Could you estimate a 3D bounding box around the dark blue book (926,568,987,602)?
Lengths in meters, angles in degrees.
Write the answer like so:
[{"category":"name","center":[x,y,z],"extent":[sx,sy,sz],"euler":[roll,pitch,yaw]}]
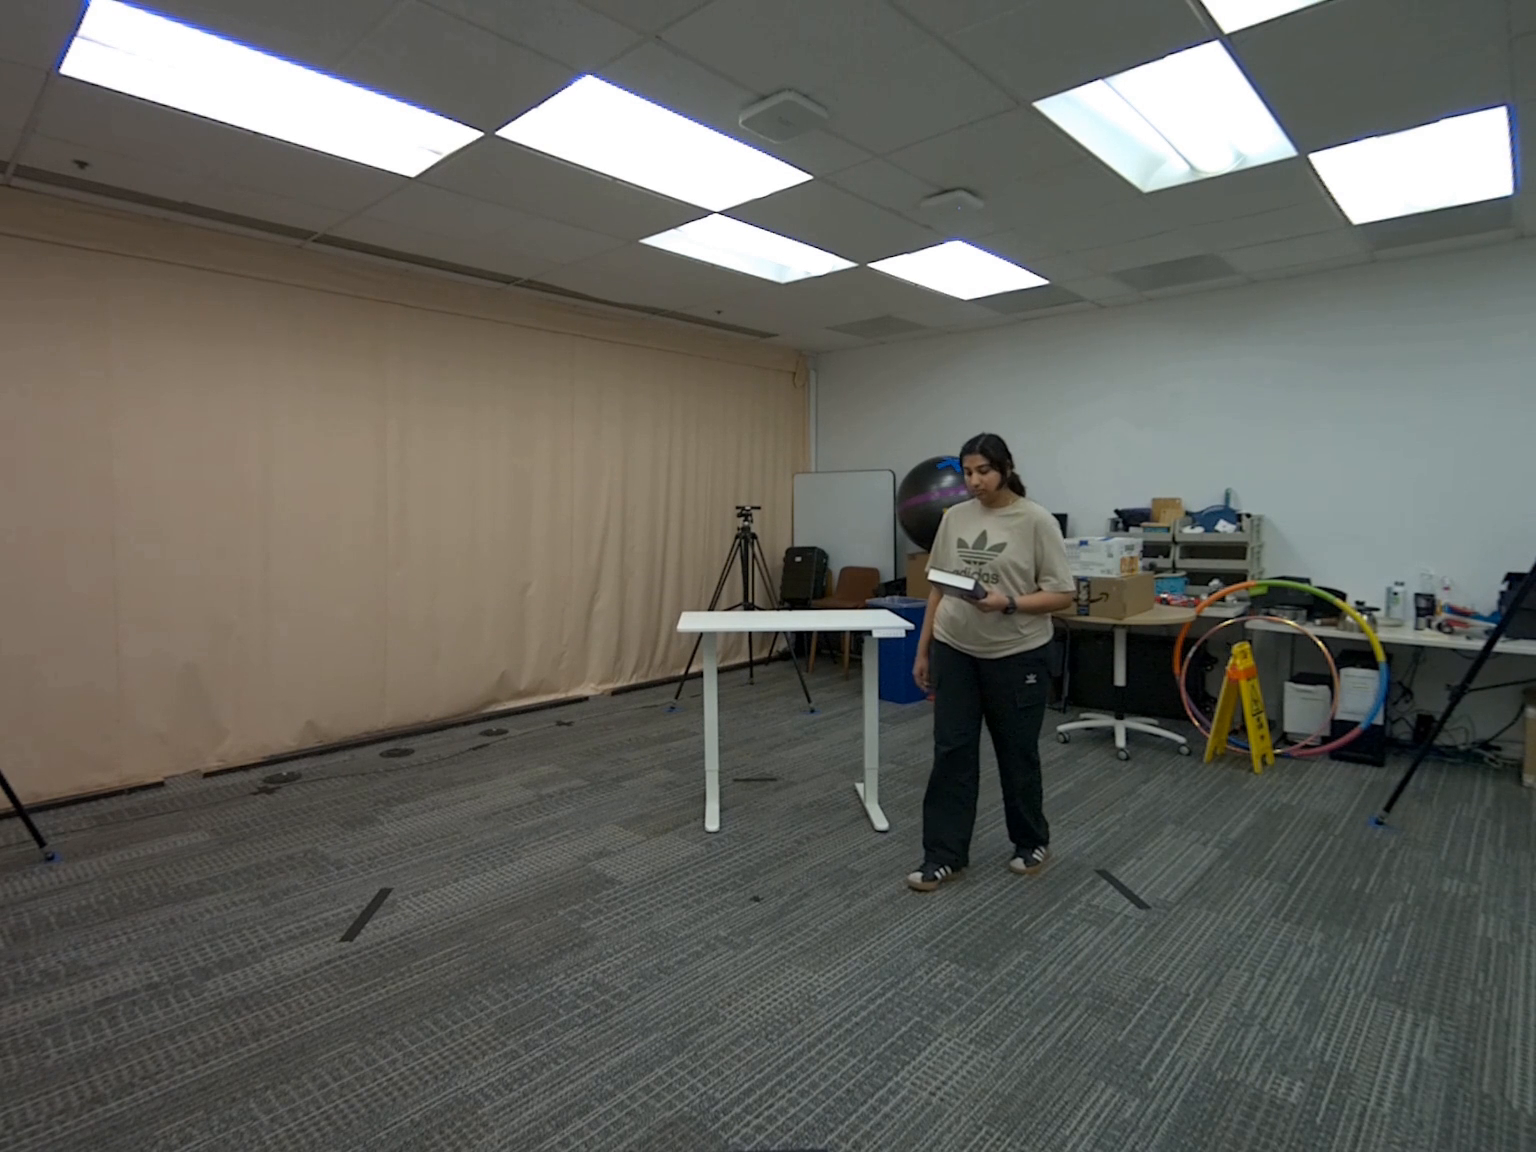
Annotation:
[{"category":"dark blue book","center":[0.662,0.038,2.917],"extent":[0.168,0.045,0.237],"euler":[15,-6,29]}]
